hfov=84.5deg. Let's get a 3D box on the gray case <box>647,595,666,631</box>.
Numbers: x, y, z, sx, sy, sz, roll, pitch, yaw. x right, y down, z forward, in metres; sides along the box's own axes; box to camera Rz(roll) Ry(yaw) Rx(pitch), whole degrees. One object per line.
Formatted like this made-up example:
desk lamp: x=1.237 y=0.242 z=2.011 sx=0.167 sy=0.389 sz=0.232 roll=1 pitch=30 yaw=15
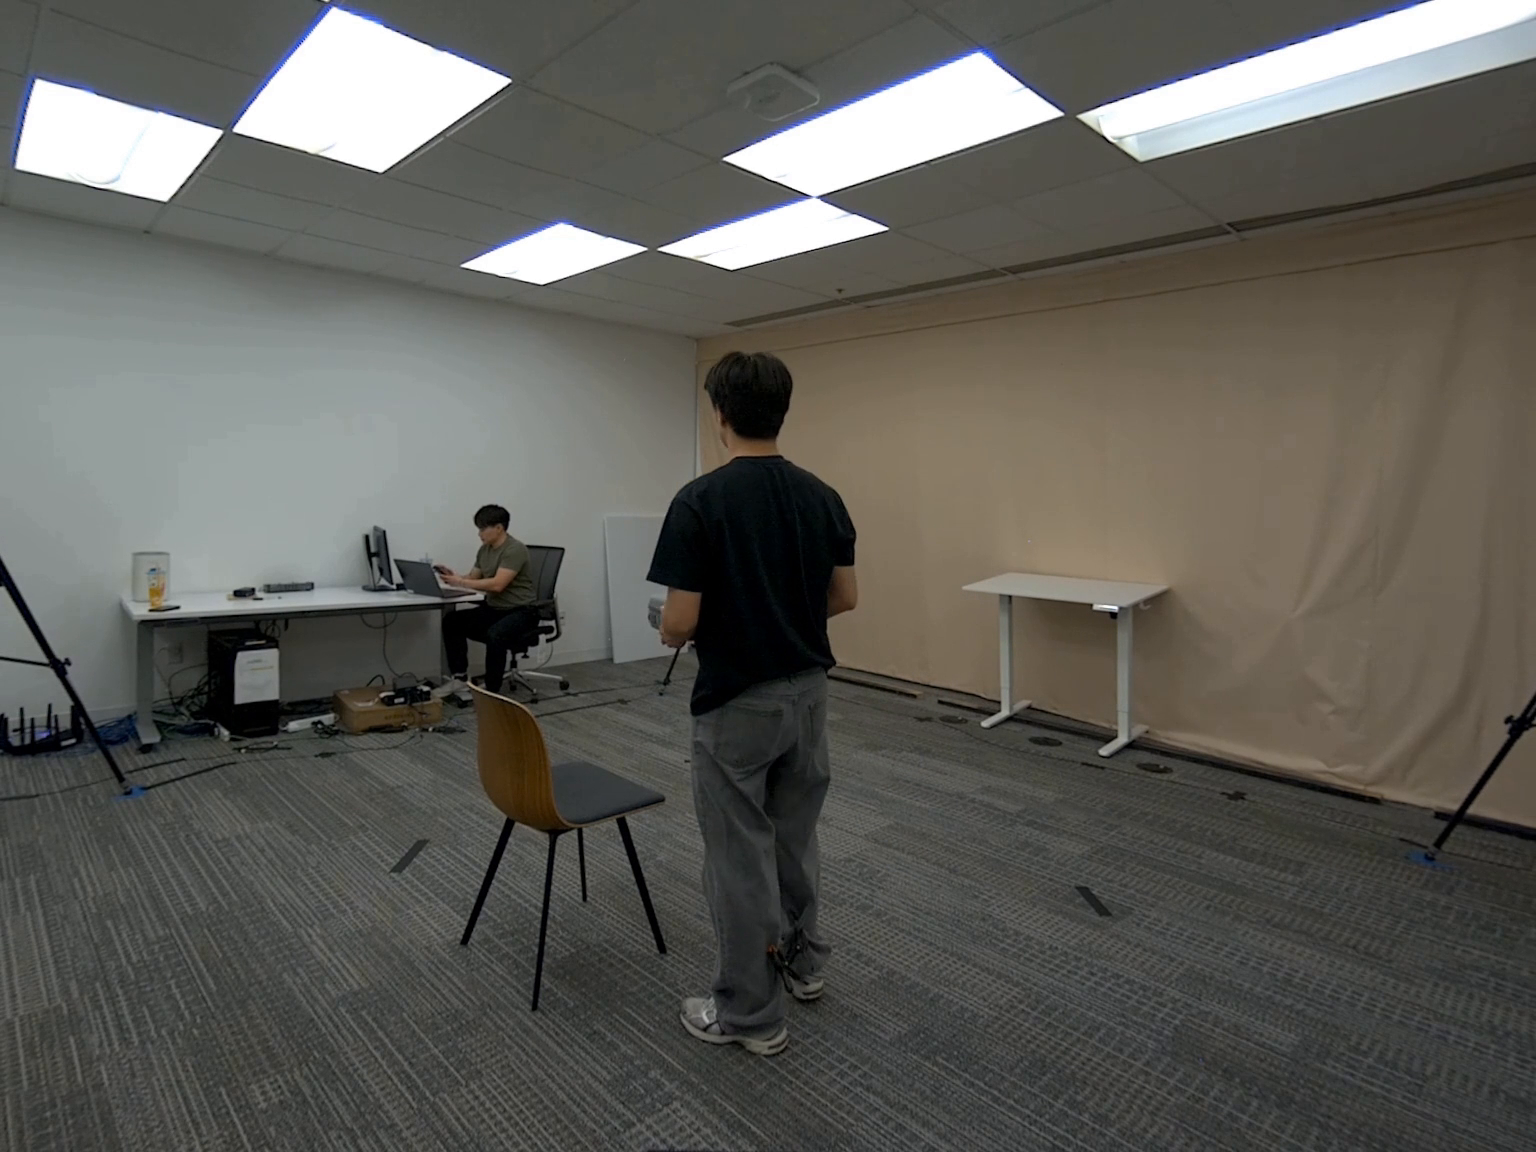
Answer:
gray case: x=-0.193 y=0.109 z=2.425 sx=0.258 sy=0.102 sz=0.294 roll=-7 pitch=10 yaw=-36
